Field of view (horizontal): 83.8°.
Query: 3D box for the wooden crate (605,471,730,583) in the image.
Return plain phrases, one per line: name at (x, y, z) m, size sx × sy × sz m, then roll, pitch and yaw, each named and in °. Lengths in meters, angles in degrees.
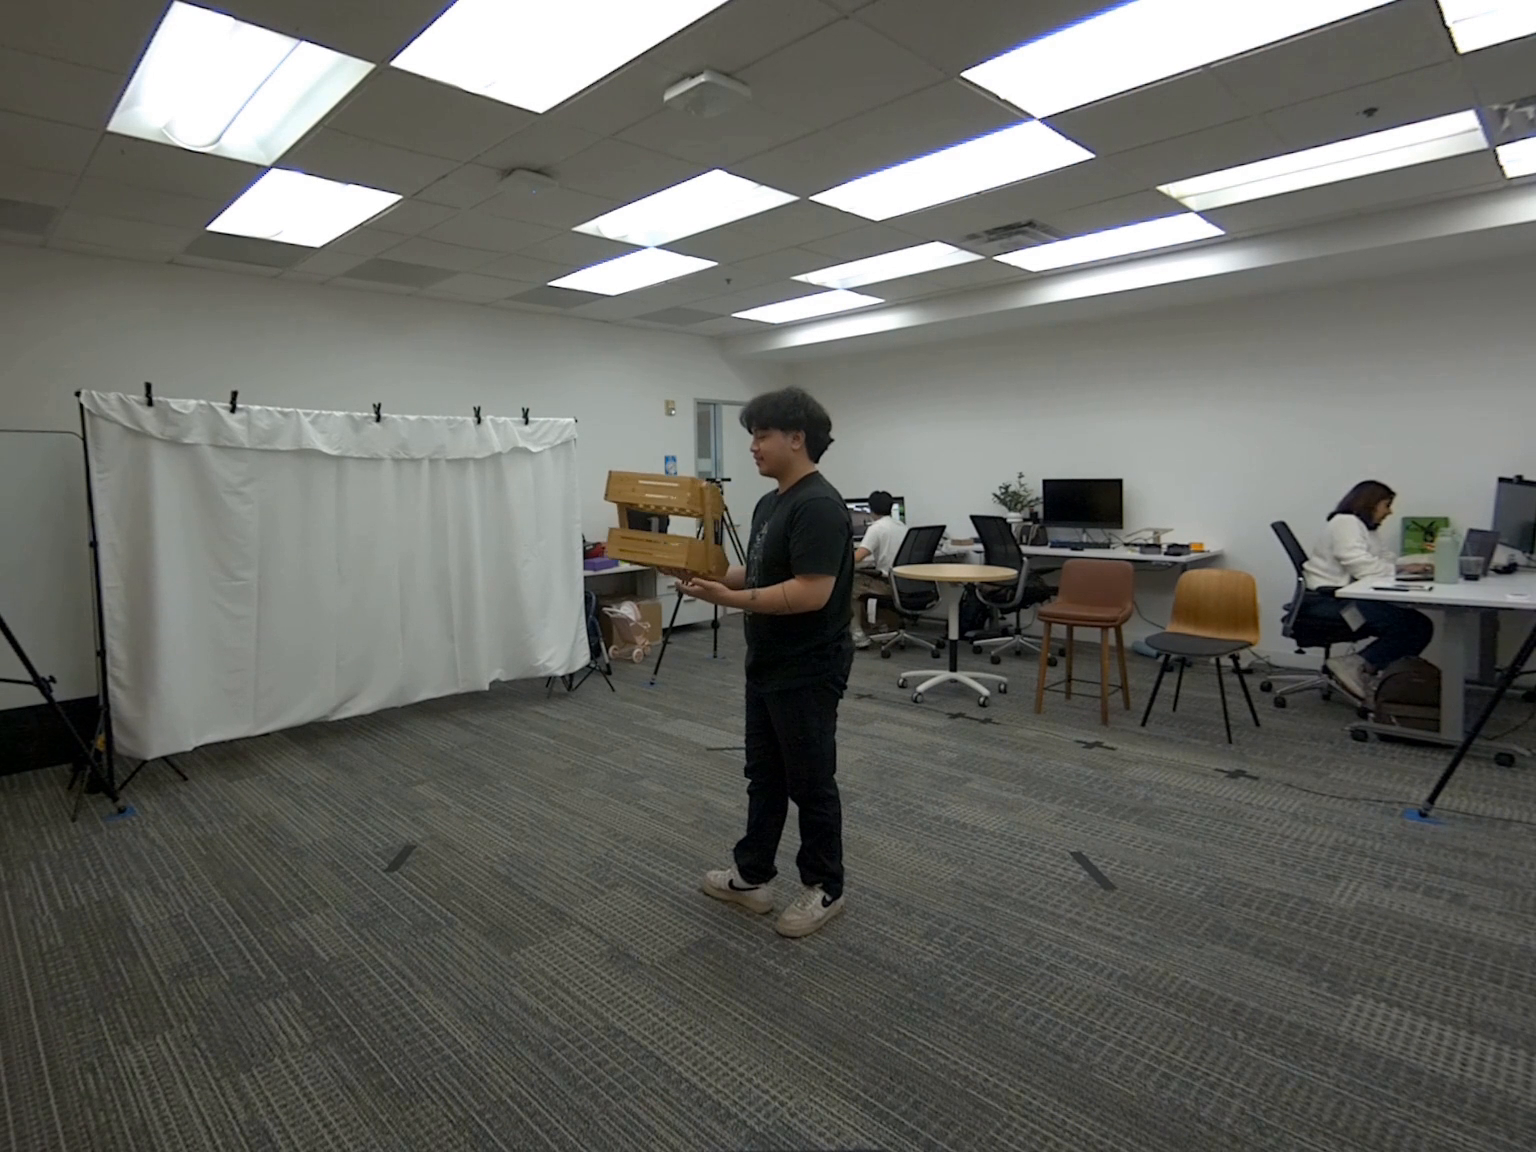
wooden crate at (-0.297, -0.159, 2.626) m, size 0.333 × 0.274 × 0.293 m, roll 7°, pitch -5°, yaw 27°
